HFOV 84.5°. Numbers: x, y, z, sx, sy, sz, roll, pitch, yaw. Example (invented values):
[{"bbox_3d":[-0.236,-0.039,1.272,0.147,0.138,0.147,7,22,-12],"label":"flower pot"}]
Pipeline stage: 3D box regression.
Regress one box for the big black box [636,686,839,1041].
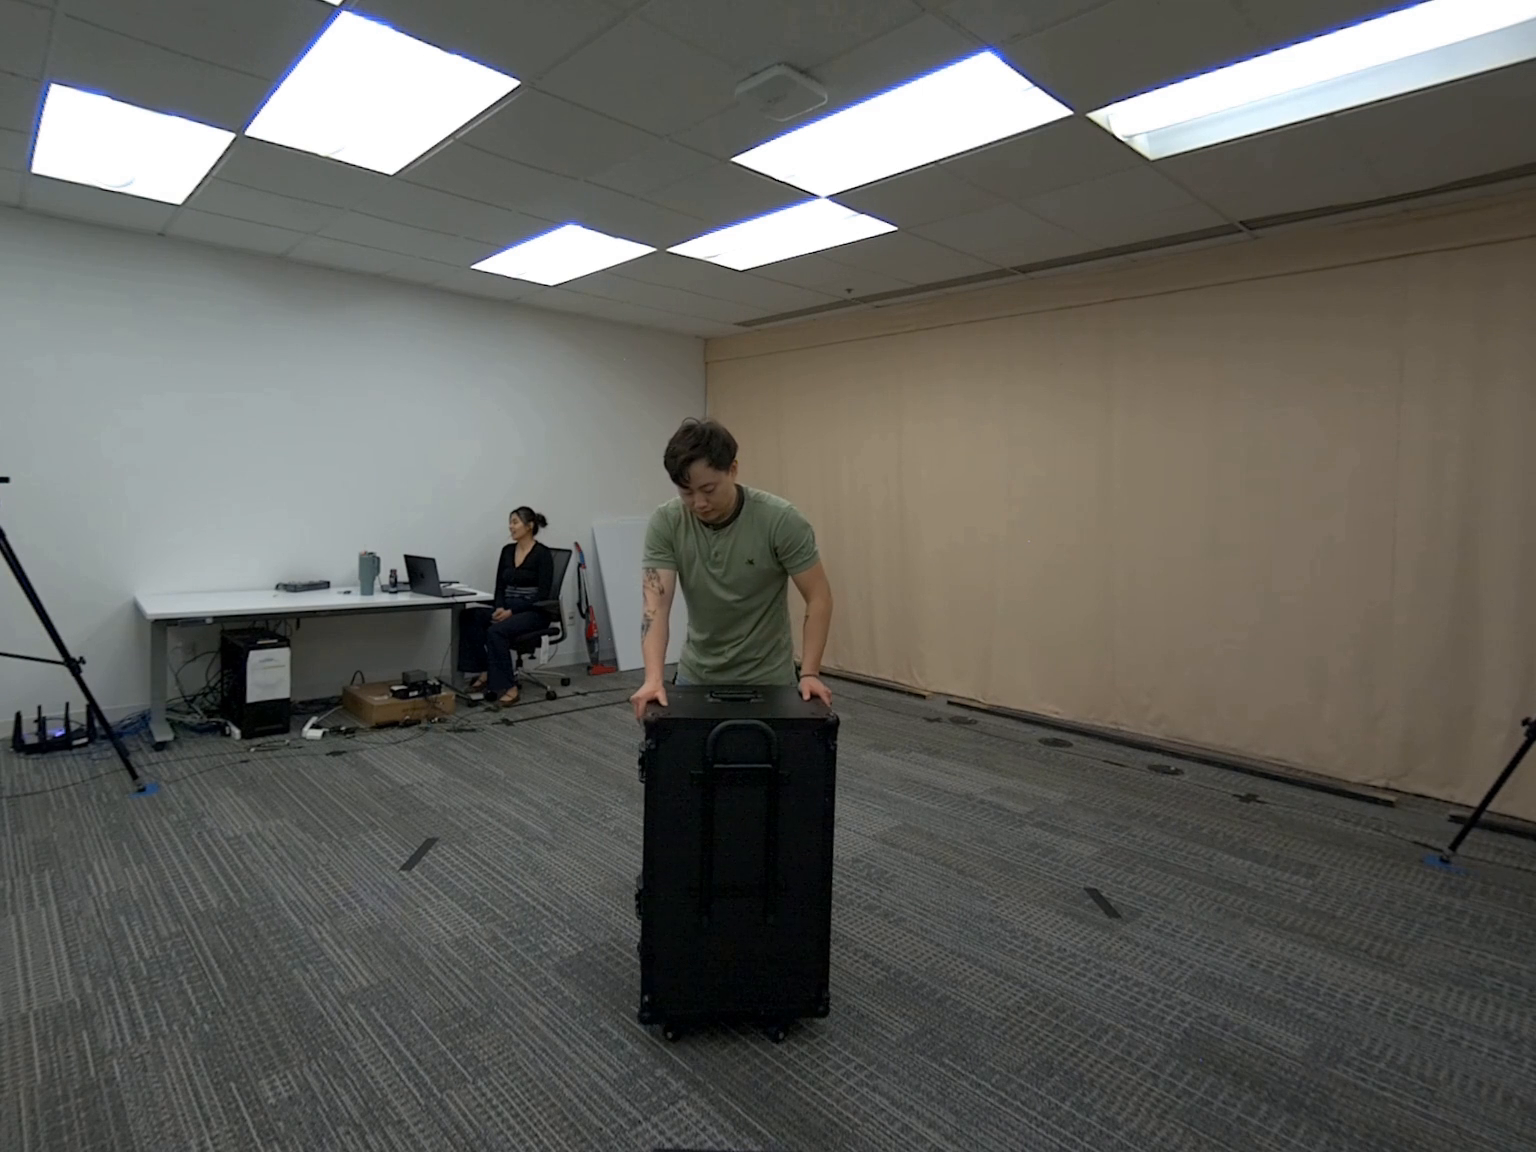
[{"bbox_3d":[-0.099,0.762,2.257,0.518,0.858,0.400,1,5,-7],"label":"big black box"}]
